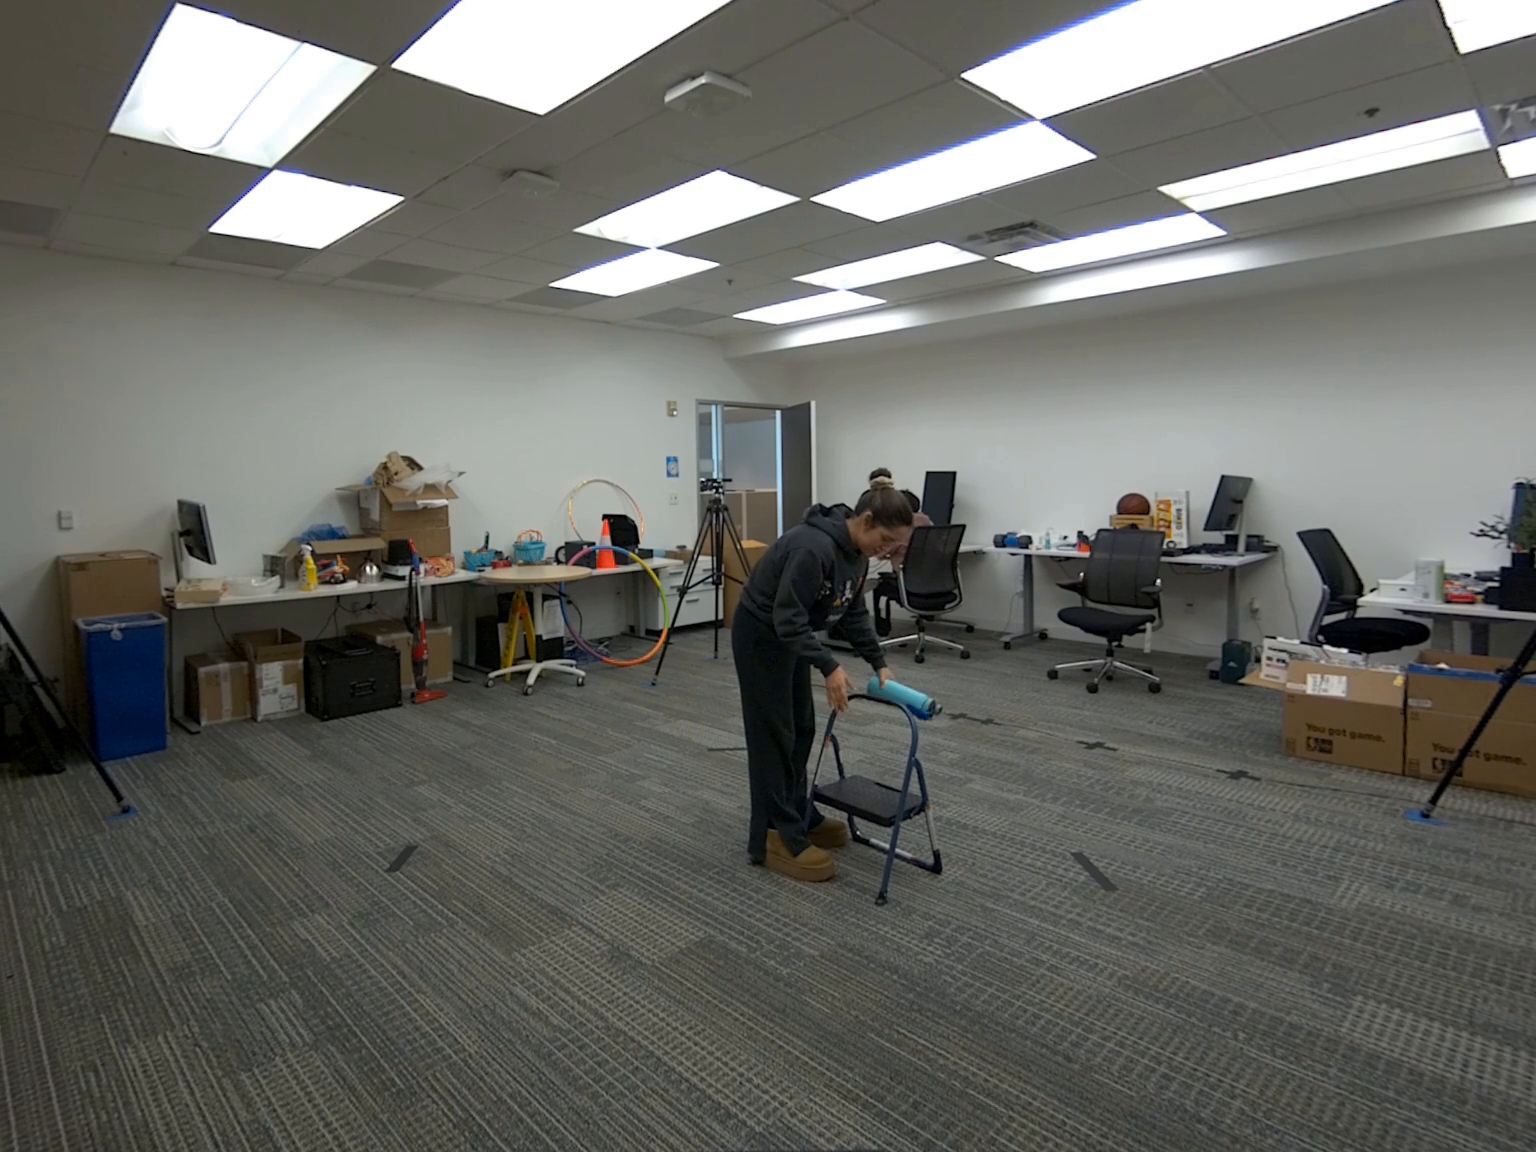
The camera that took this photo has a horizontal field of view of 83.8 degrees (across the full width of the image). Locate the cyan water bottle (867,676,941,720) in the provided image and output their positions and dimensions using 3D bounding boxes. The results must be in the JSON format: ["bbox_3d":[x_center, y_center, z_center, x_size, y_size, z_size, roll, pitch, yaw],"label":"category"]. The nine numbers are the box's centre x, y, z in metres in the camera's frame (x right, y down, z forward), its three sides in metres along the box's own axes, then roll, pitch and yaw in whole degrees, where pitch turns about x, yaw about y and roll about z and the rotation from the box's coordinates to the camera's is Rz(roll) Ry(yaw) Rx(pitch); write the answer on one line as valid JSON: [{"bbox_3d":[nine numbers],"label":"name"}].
[{"bbox_3d":[0.509,0.454,3.205,0.293,0.091,0.090,21,17,36],"label":"cyan water bottle"}]
